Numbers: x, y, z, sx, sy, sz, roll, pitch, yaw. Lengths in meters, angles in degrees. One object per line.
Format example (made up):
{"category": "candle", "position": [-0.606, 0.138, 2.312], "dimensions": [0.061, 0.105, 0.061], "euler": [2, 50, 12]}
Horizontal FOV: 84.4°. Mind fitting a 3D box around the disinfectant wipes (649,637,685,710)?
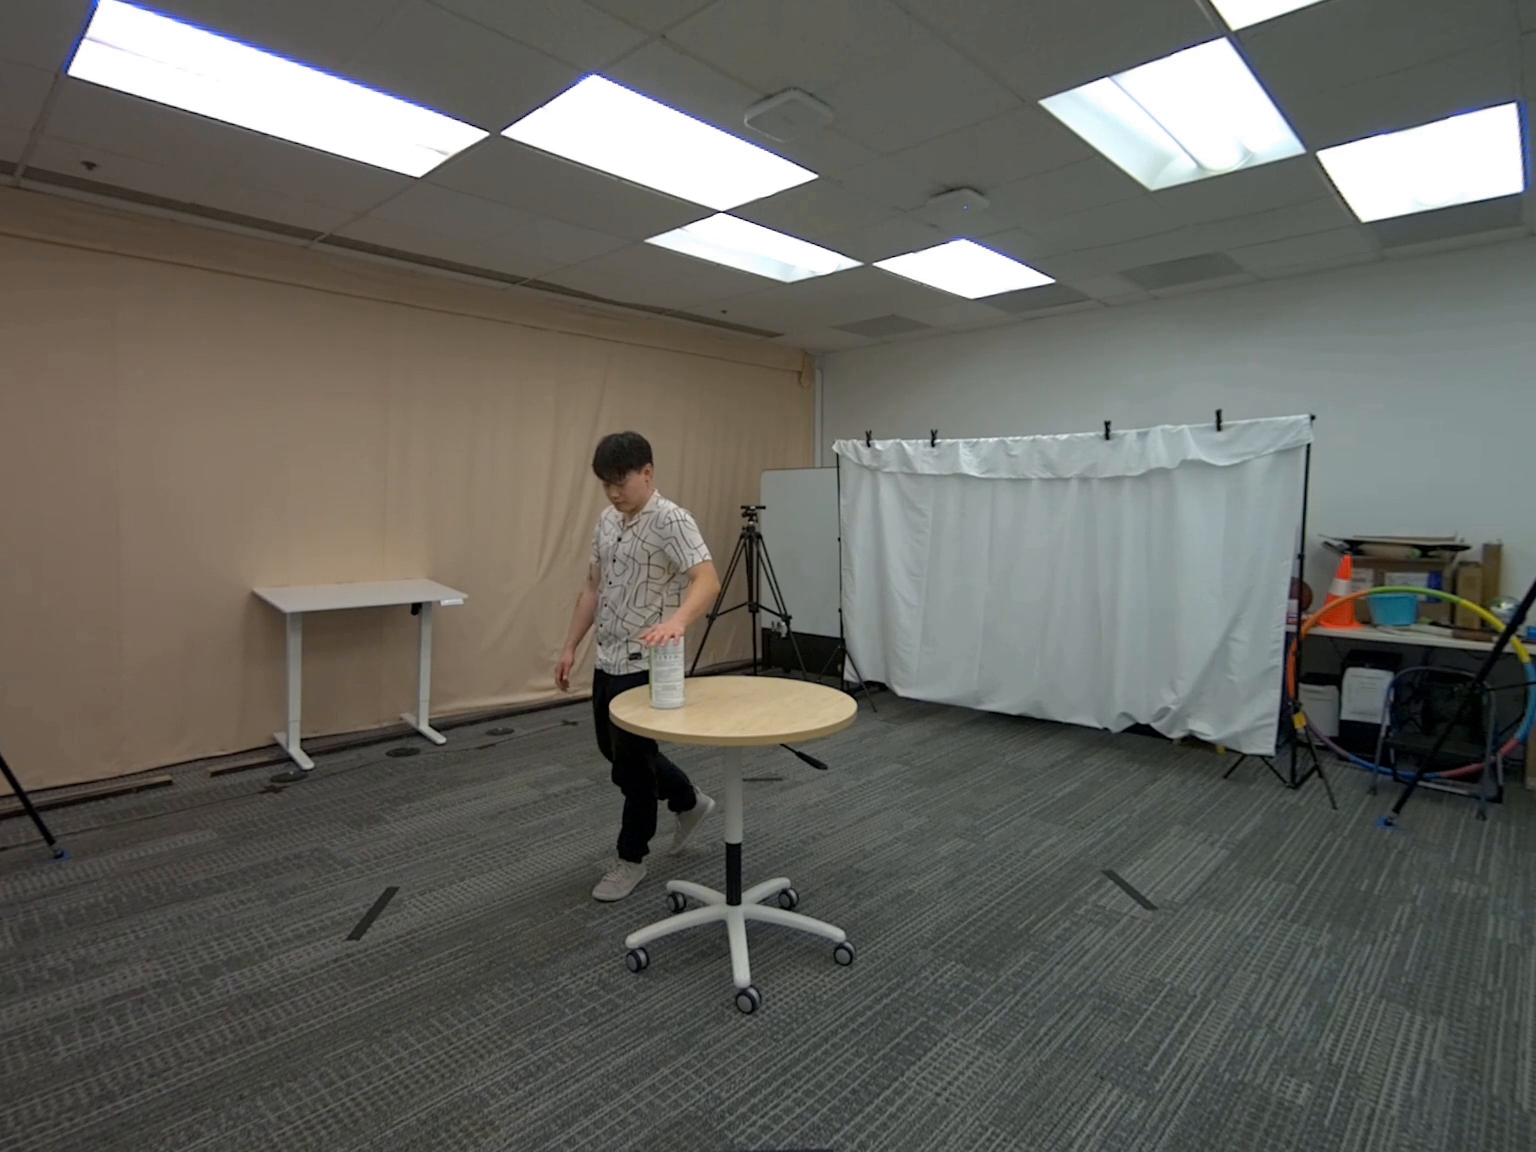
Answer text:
{"category": "disinfectant wipes", "position": [-0.304, 0.296, 2.570], "dimensions": [0.118, 0.217, 0.118], "euler": [0, 3, -2]}
